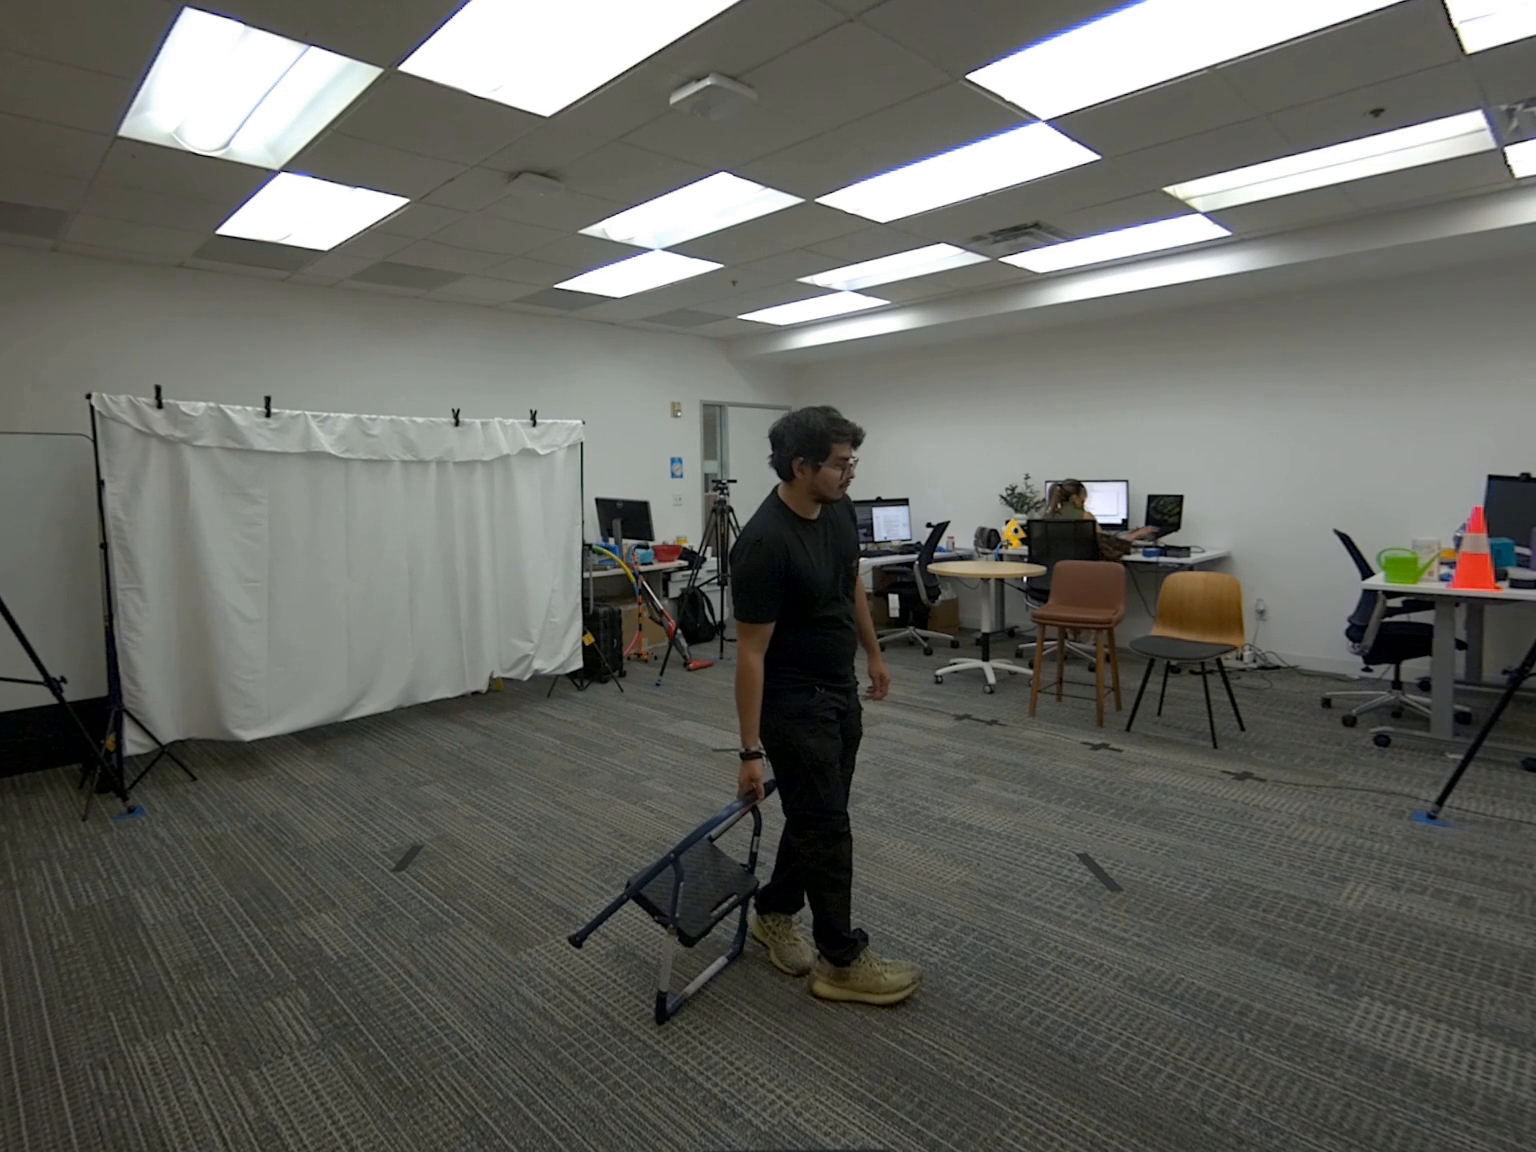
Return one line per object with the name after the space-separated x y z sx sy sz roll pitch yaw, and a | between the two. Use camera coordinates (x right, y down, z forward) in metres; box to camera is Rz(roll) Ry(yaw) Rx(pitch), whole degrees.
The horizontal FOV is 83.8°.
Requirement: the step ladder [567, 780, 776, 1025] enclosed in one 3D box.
-0.195 0.800 2.348 0.360 0.601 0.421 31 19 23 | step ladder
